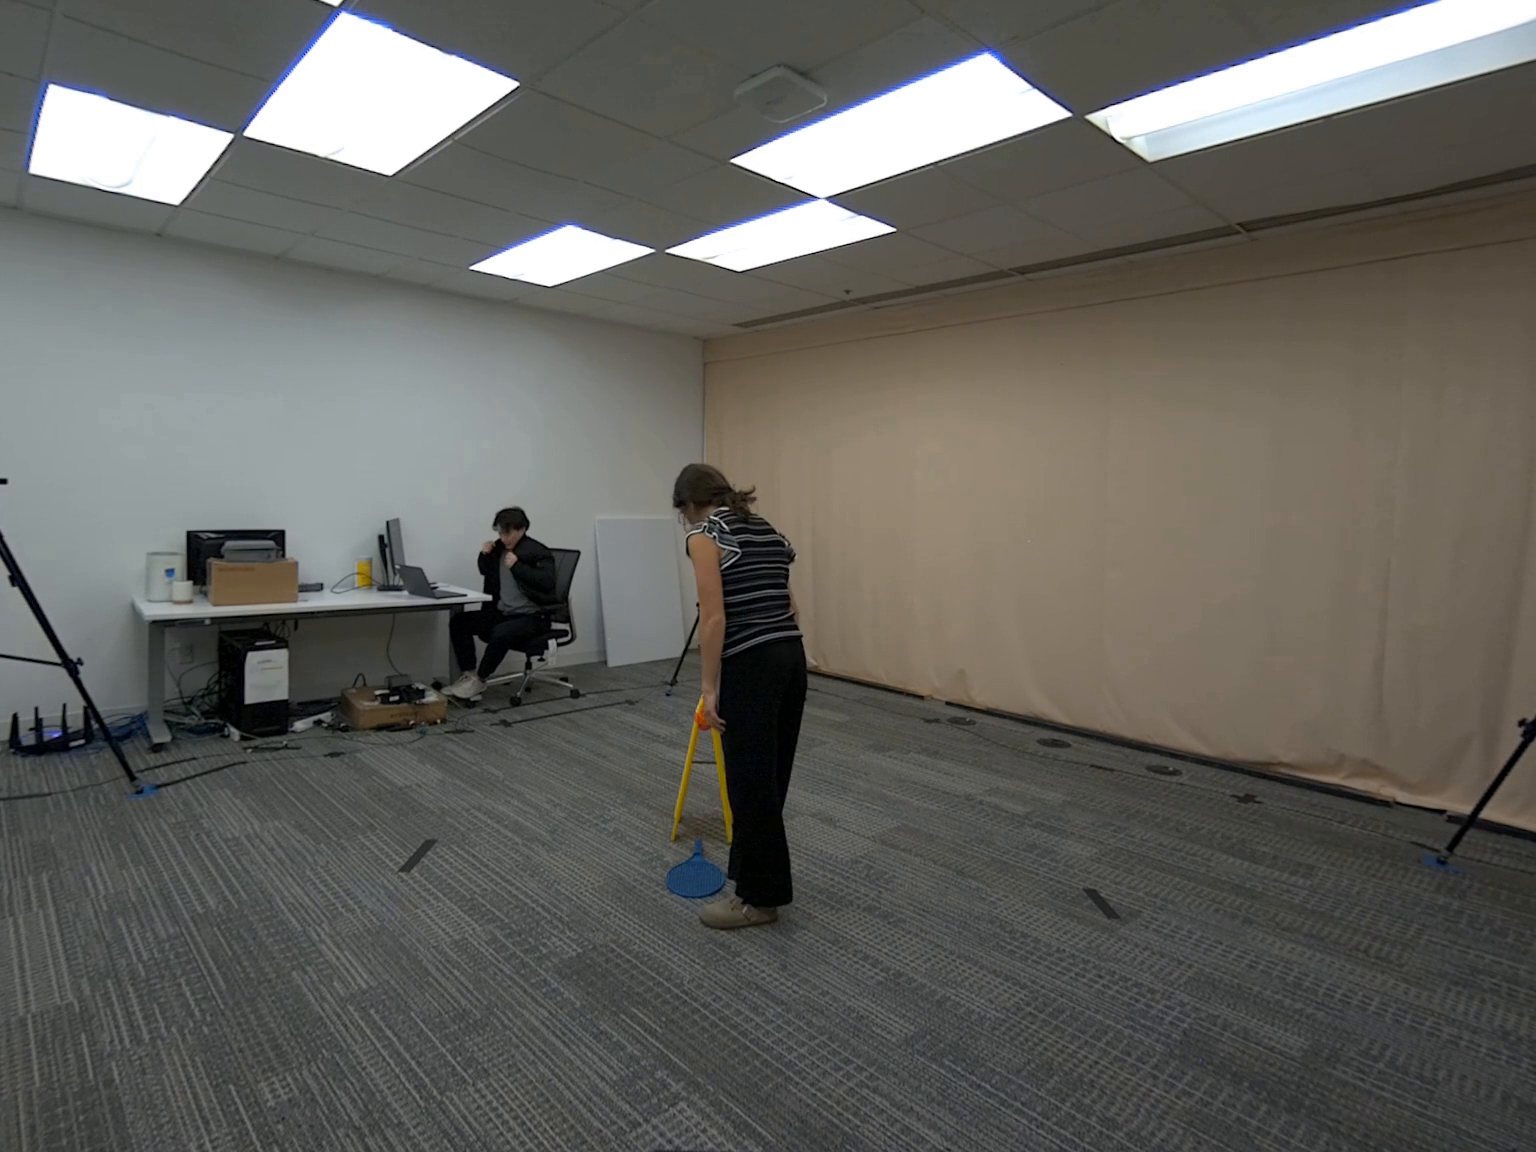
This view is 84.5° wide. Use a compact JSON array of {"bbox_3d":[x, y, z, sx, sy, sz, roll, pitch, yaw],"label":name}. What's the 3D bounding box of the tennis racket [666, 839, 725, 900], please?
[{"bbox_3d":[-0.276,1.085,3.144,0.214,0.031,0.434,0,7,1],"label":"tennis racket"}]
